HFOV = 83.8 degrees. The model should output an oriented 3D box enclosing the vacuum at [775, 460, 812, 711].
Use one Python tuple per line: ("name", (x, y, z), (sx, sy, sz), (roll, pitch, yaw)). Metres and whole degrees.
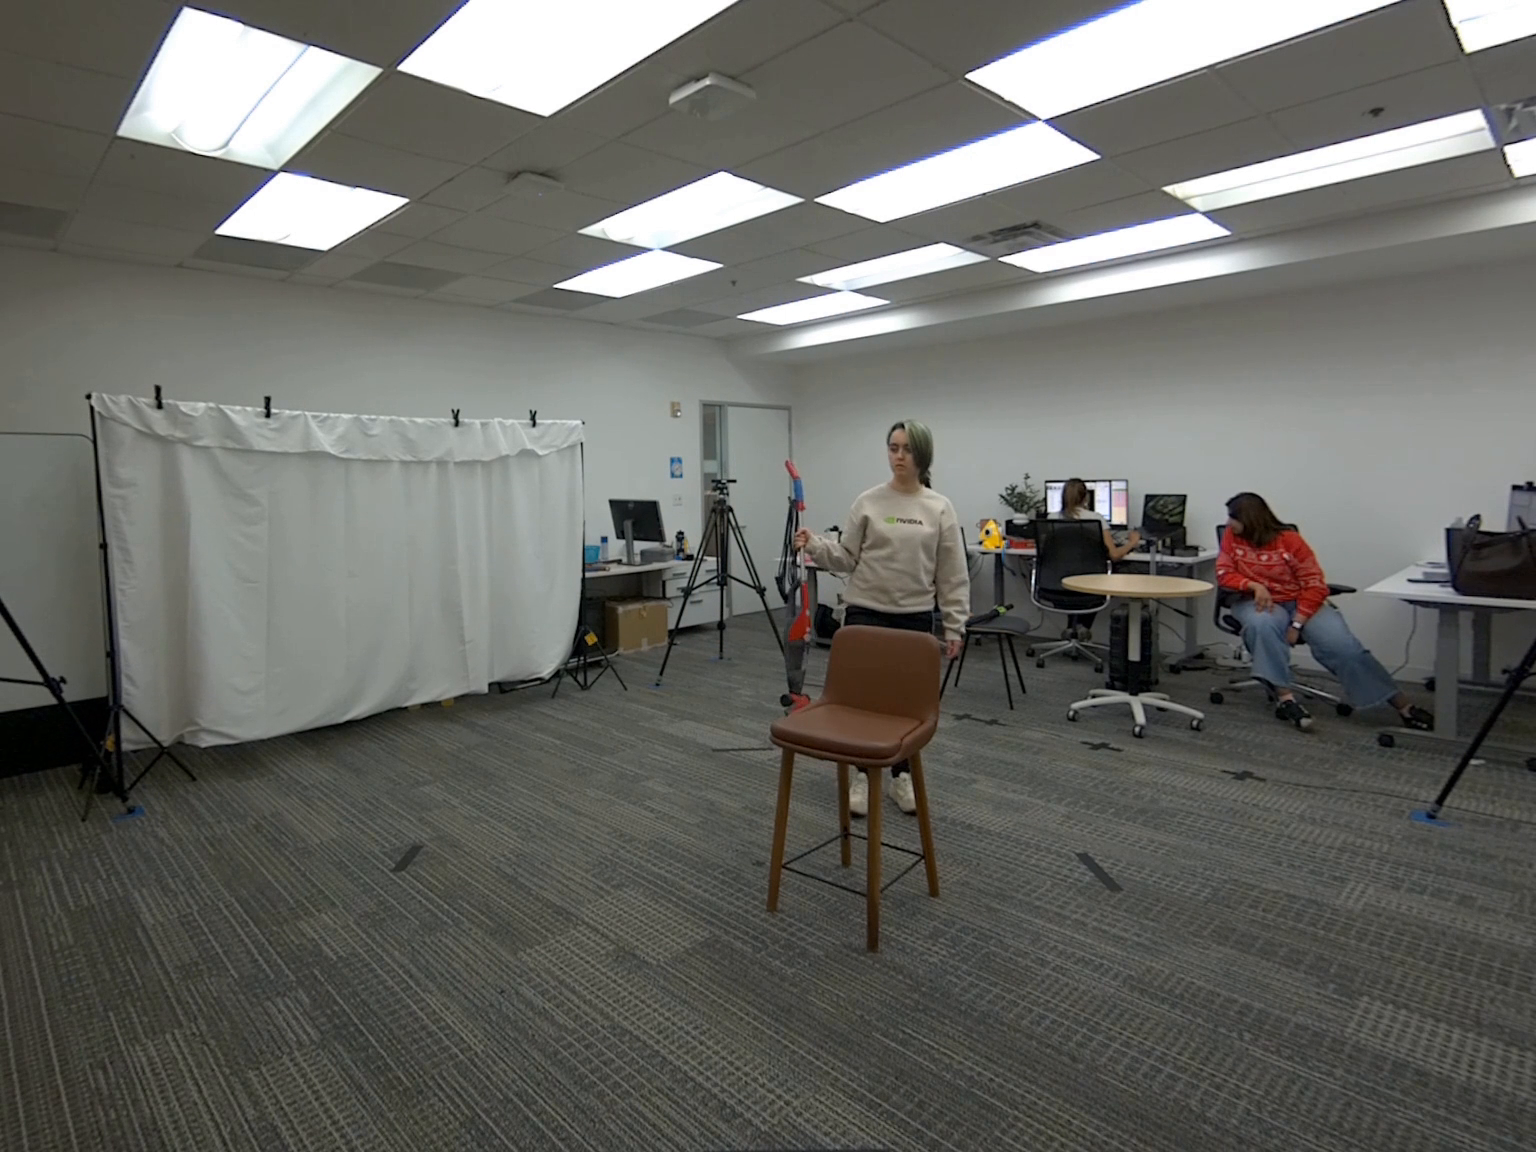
("vacuum", (0.112, 0.032, 3.583), (0.147, 1.062, 0.244), (-14, -15, 38))
